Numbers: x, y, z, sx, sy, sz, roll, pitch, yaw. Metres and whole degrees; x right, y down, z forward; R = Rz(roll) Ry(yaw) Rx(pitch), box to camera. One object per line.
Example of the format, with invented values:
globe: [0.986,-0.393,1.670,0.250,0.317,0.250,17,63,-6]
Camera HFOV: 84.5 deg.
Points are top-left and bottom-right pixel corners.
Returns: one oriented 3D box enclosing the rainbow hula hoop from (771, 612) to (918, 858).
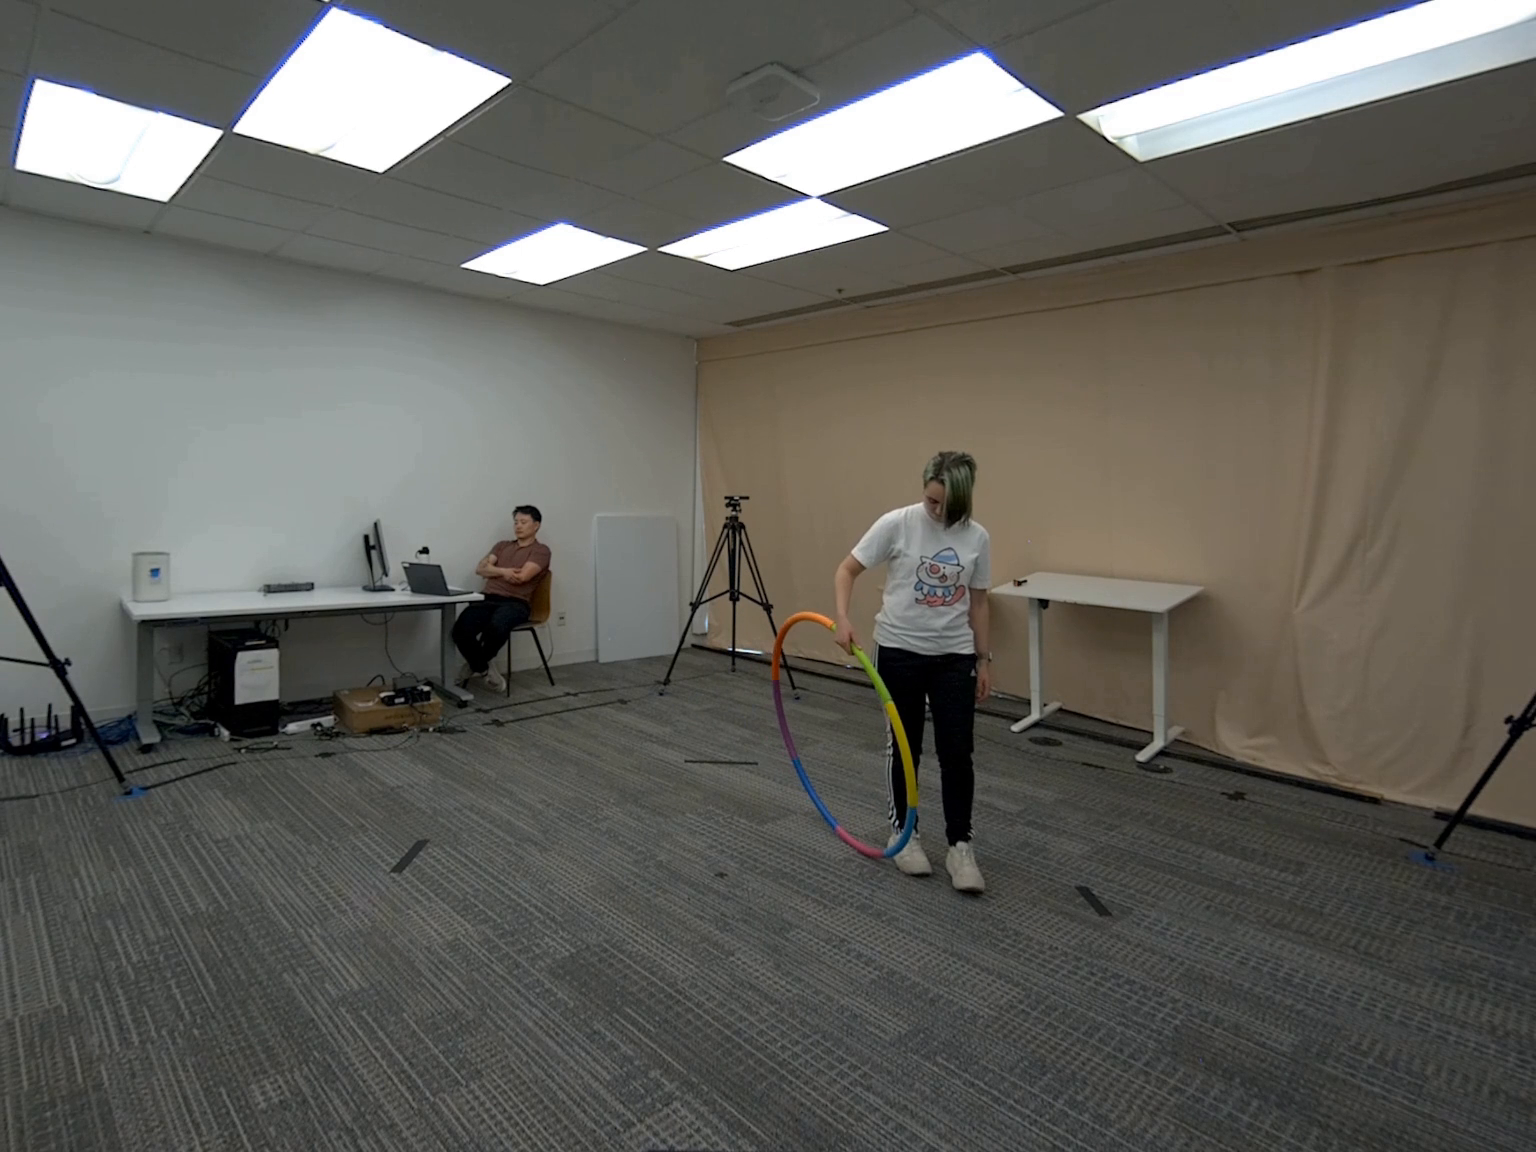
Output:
rainbow hula hoop: [0.262,0.621,3.315,0.035,0.971,0.999,-15,11,-24]
